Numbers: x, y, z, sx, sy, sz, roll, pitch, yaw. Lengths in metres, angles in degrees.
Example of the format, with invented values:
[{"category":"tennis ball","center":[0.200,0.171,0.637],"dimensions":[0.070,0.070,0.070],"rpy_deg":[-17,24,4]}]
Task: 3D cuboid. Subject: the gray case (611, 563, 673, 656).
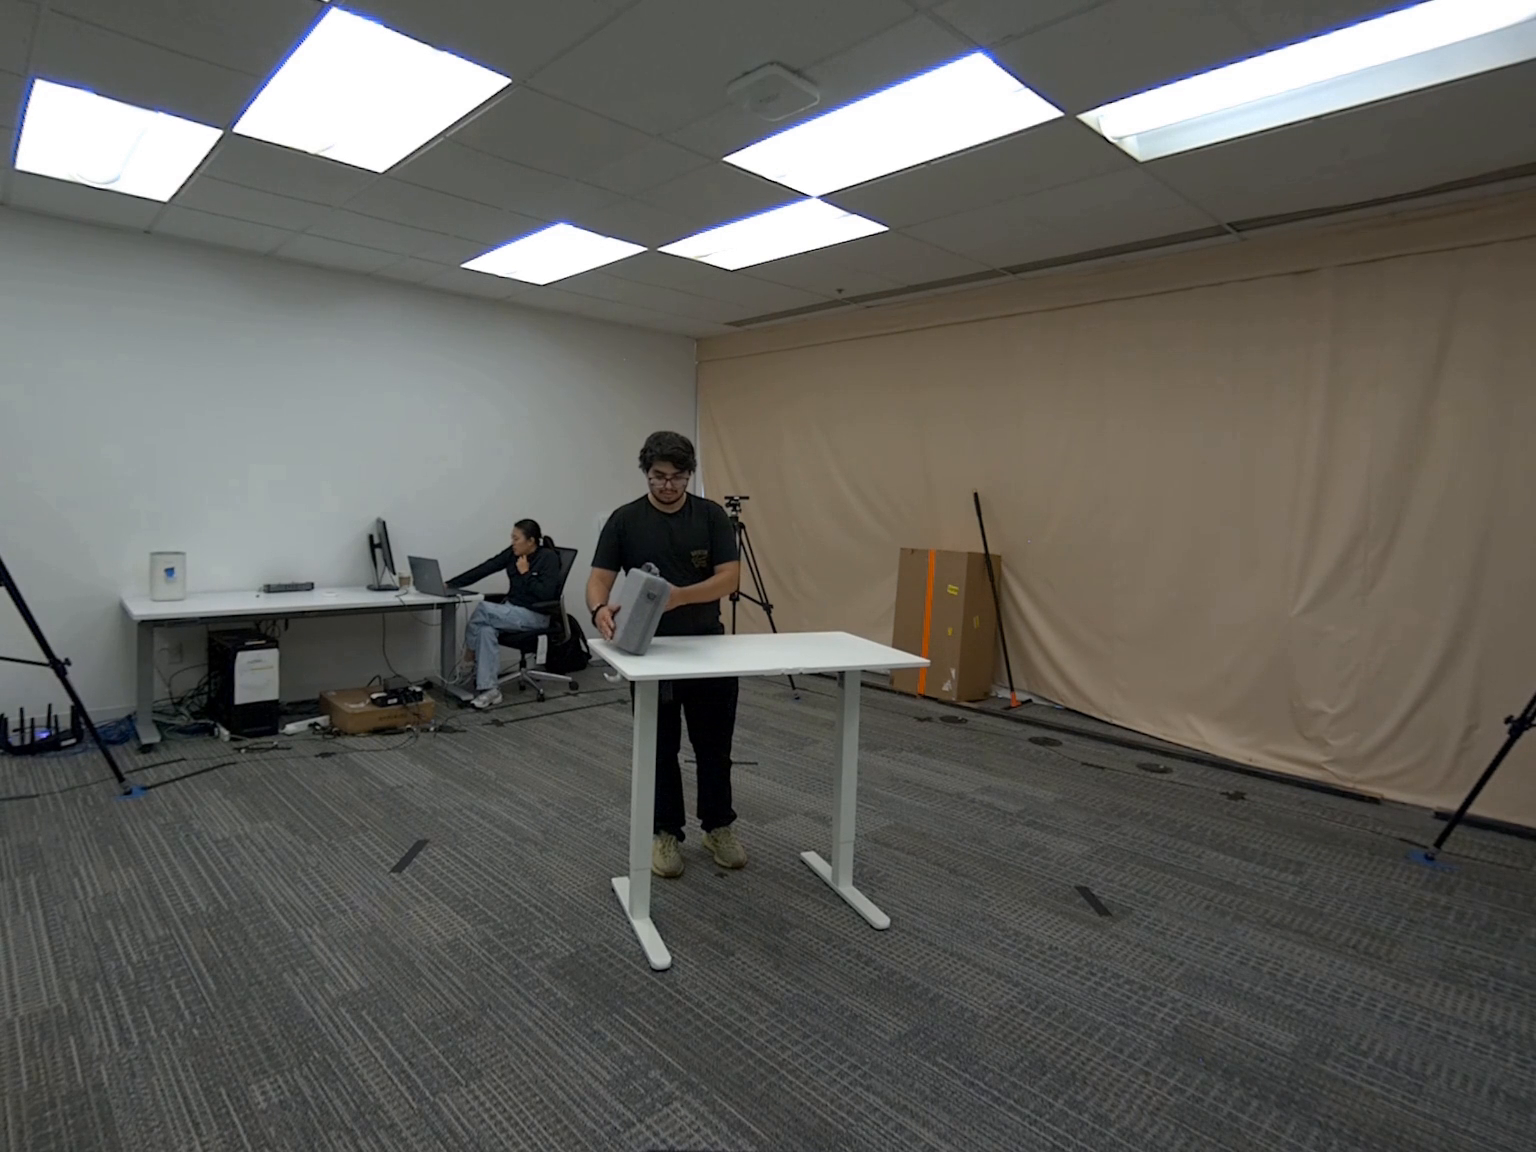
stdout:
[{"category":"gray case","center":[-0.437,0.115,2.746],"dimensions":[0.102,0.261,0.261],"rpy_deg":[18,0,-21]}]
